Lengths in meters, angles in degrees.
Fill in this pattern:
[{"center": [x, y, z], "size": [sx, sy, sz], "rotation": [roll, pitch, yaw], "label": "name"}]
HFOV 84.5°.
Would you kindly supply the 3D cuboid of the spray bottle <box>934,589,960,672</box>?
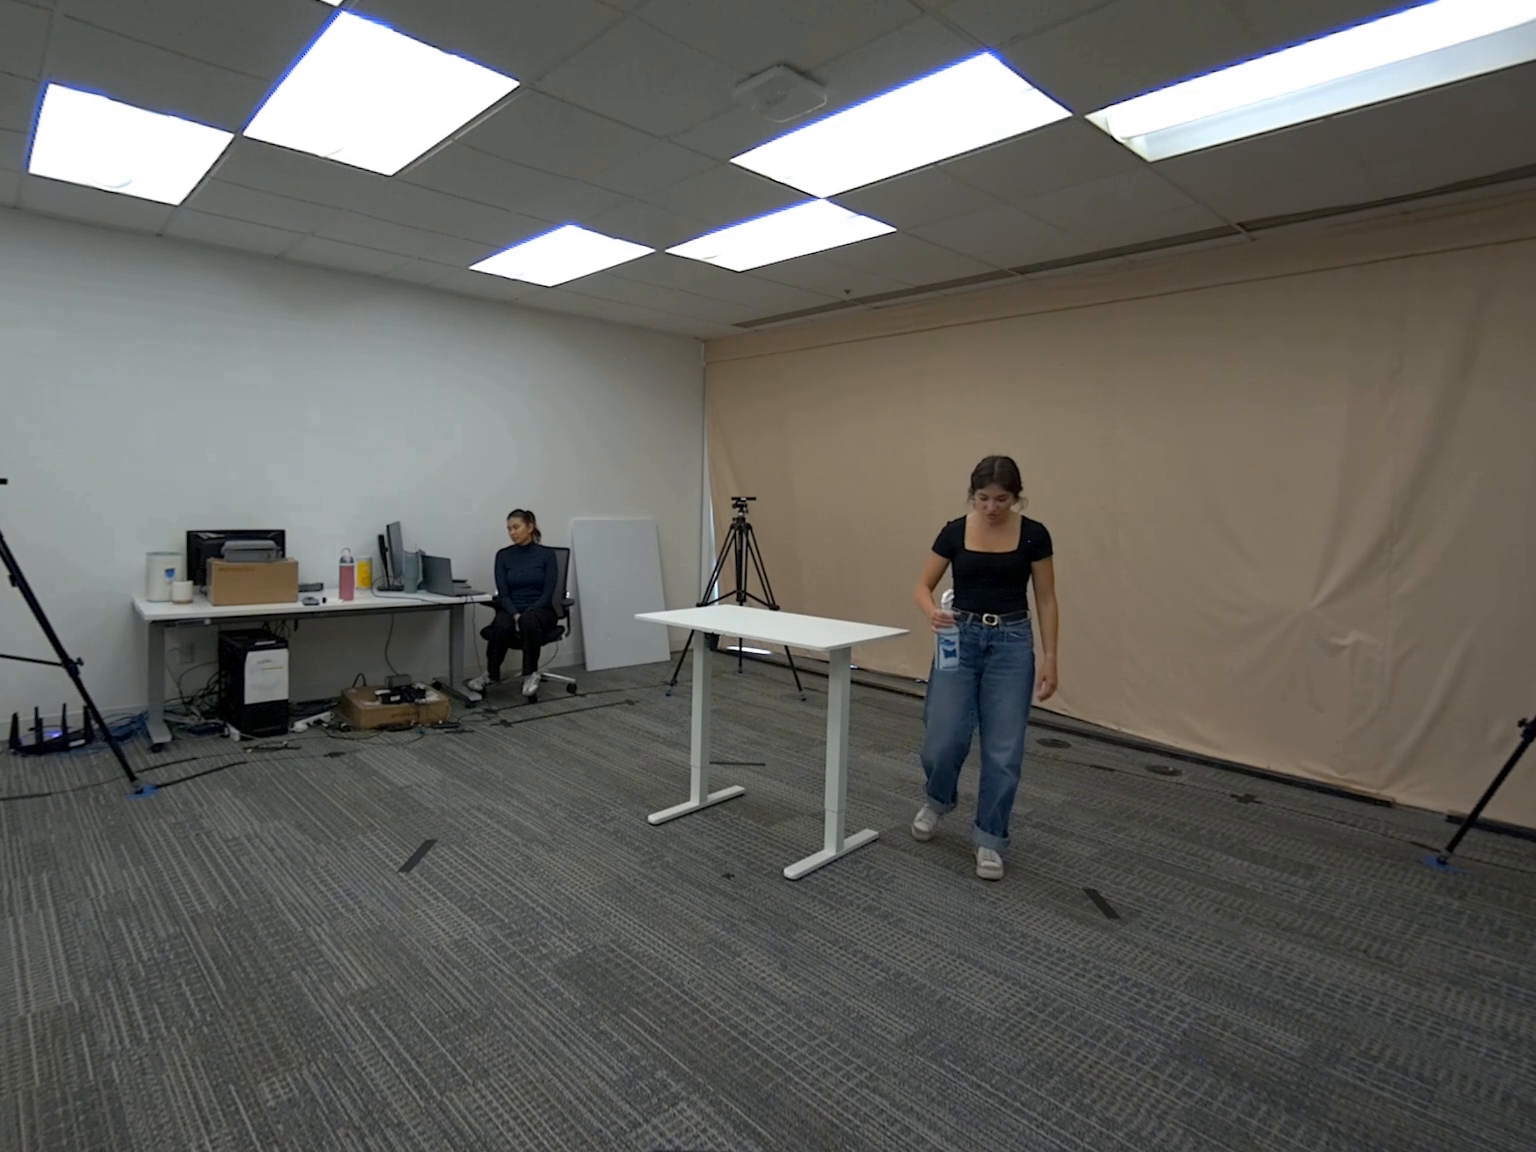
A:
[{"center": [0.645, 0.204, 3.085], "size": [0.088, 0.295, 0.089], "rotation": [-11, 11, -32], "label": "spray bottle"}]
